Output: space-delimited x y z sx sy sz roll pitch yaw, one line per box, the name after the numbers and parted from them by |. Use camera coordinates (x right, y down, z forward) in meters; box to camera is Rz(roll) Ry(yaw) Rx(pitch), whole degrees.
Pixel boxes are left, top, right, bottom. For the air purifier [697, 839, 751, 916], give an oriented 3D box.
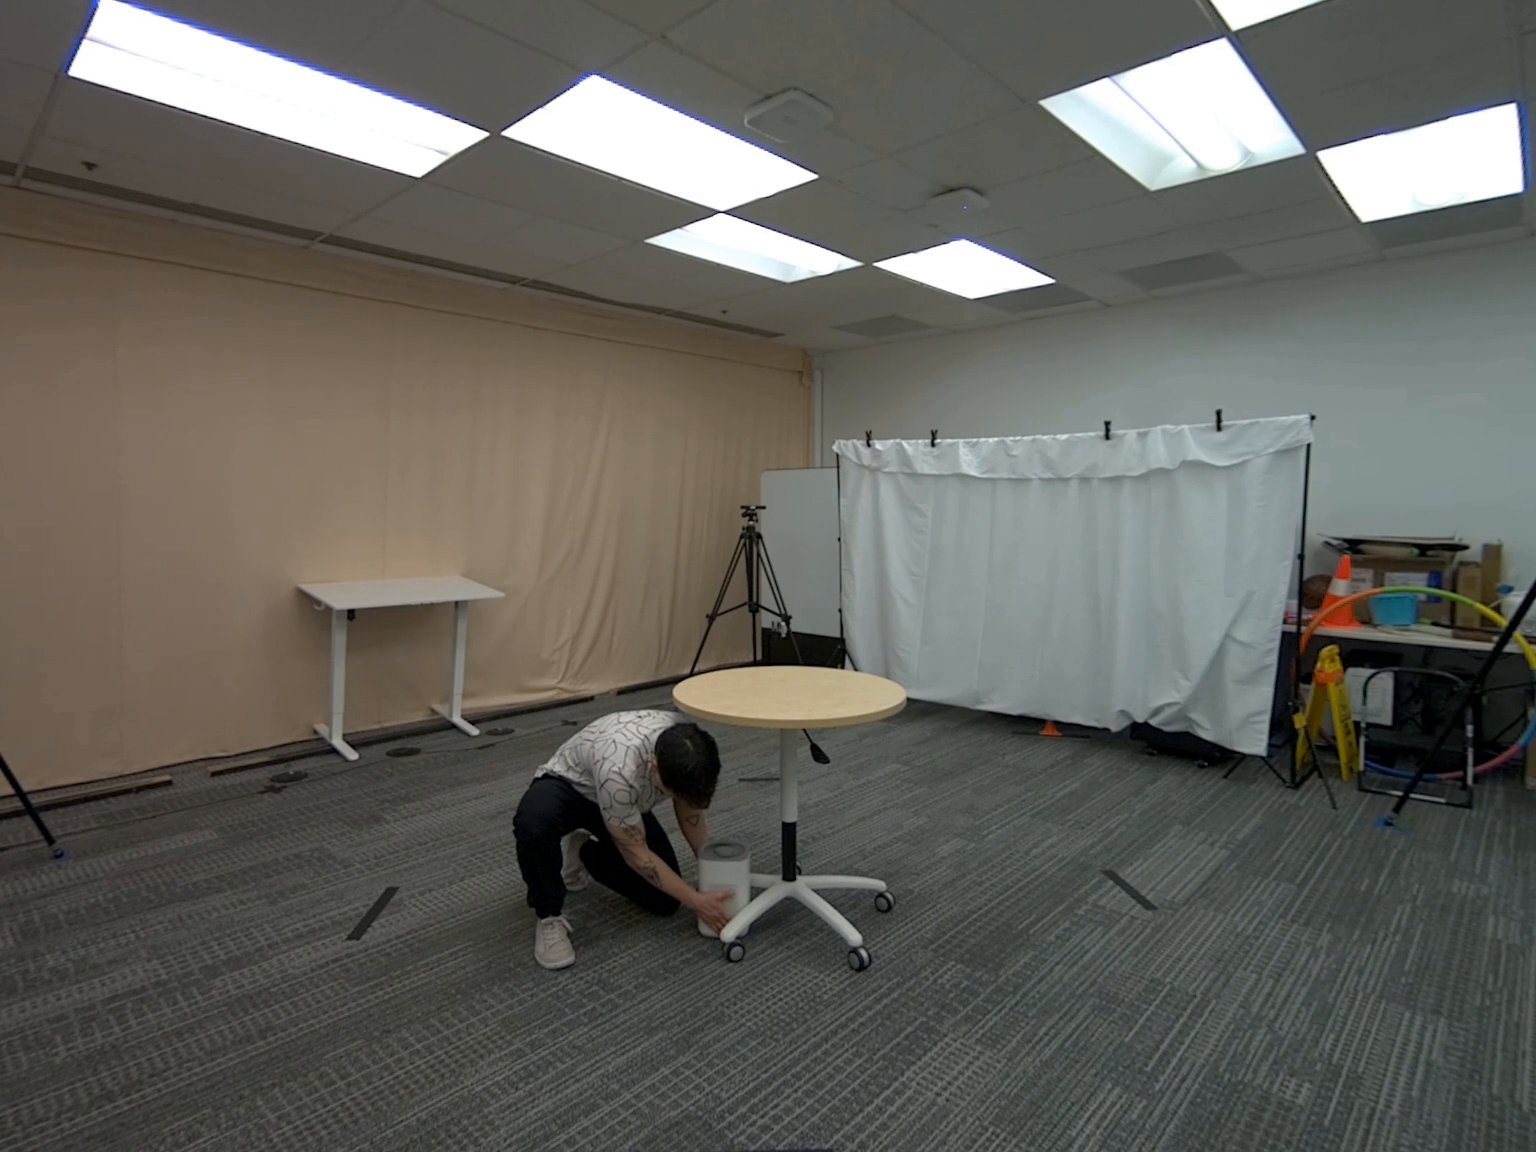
-0.138 1.028 2.761 0.172 0.265 0.171 1 2 0 | air purifier
